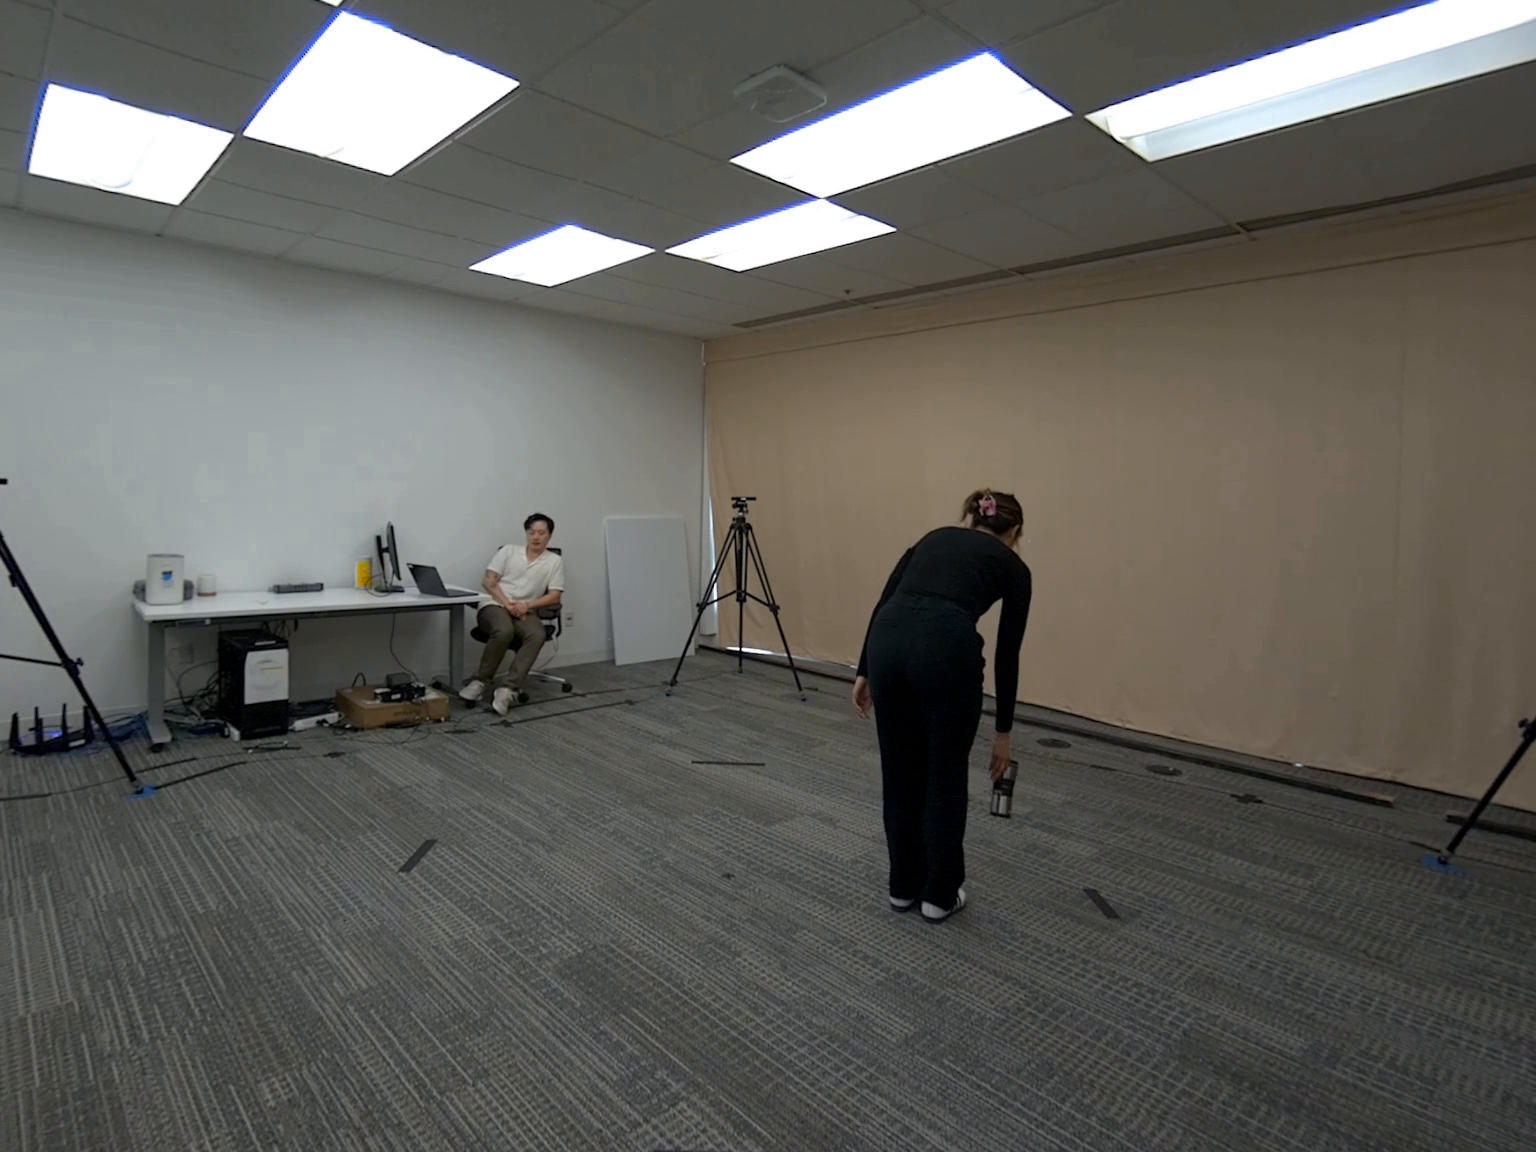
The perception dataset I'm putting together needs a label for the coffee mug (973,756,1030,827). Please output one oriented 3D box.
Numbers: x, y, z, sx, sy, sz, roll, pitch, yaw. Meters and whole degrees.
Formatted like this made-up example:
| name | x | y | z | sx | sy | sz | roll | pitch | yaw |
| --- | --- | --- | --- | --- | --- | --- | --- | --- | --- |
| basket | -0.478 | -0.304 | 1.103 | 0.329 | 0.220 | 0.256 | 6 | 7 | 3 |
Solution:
| name | x | y | z | sx | sy | sz | roll | pitch | yaw |
| --- | --- | --- | --- | --- | --- | --- | --- | --- | --- |
| coffee mug | 0.821 | 0.757 | 2.982 | 0.119 | 0.204 | 0.090 | 24 | -13 | -31 |
